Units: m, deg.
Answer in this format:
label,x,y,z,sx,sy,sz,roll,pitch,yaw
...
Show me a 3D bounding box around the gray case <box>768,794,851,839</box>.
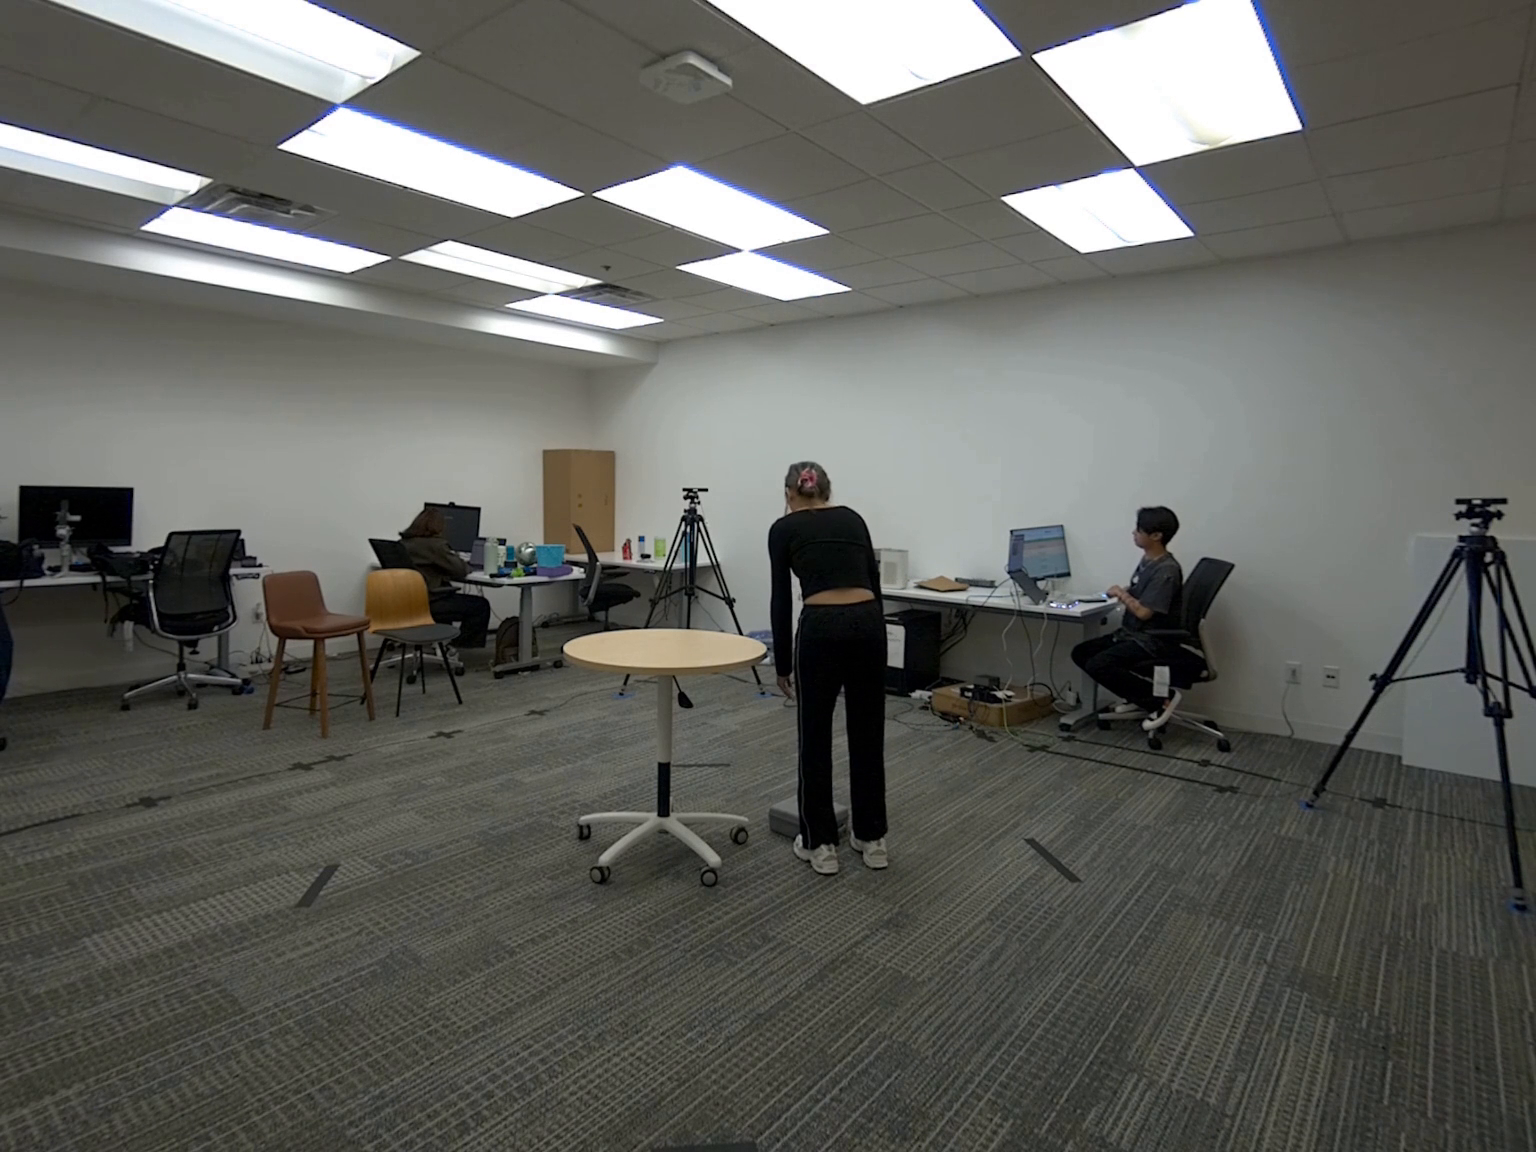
label,x,y,z,sx,sy,sz,roll,pitch,yaw
gray case,0.161,0.979,3.484,0.269,0.104,0.249,7,8,40
